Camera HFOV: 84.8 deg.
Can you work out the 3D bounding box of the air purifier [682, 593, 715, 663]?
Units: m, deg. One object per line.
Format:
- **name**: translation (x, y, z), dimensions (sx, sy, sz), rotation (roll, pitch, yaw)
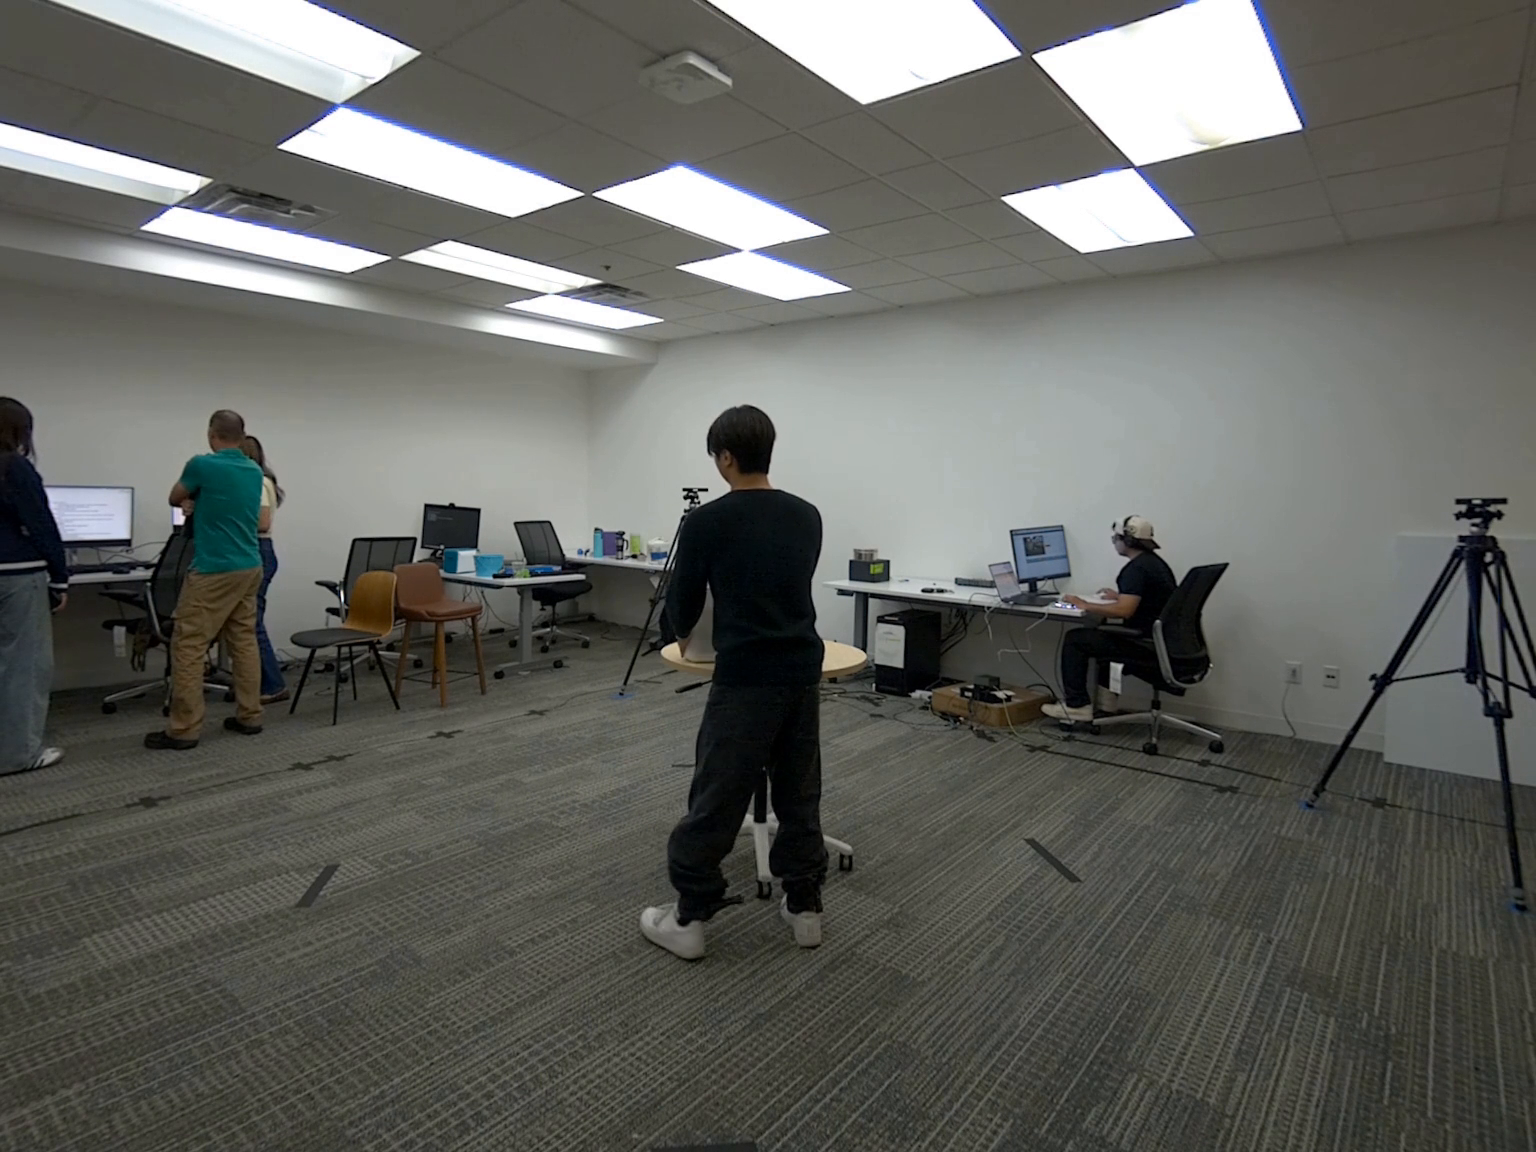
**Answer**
- **air purifier**: translation (-0.220, 0.164, 3.033), dimensions (0.169, 0.264, 0.174), rotation (2, 4, -14)
